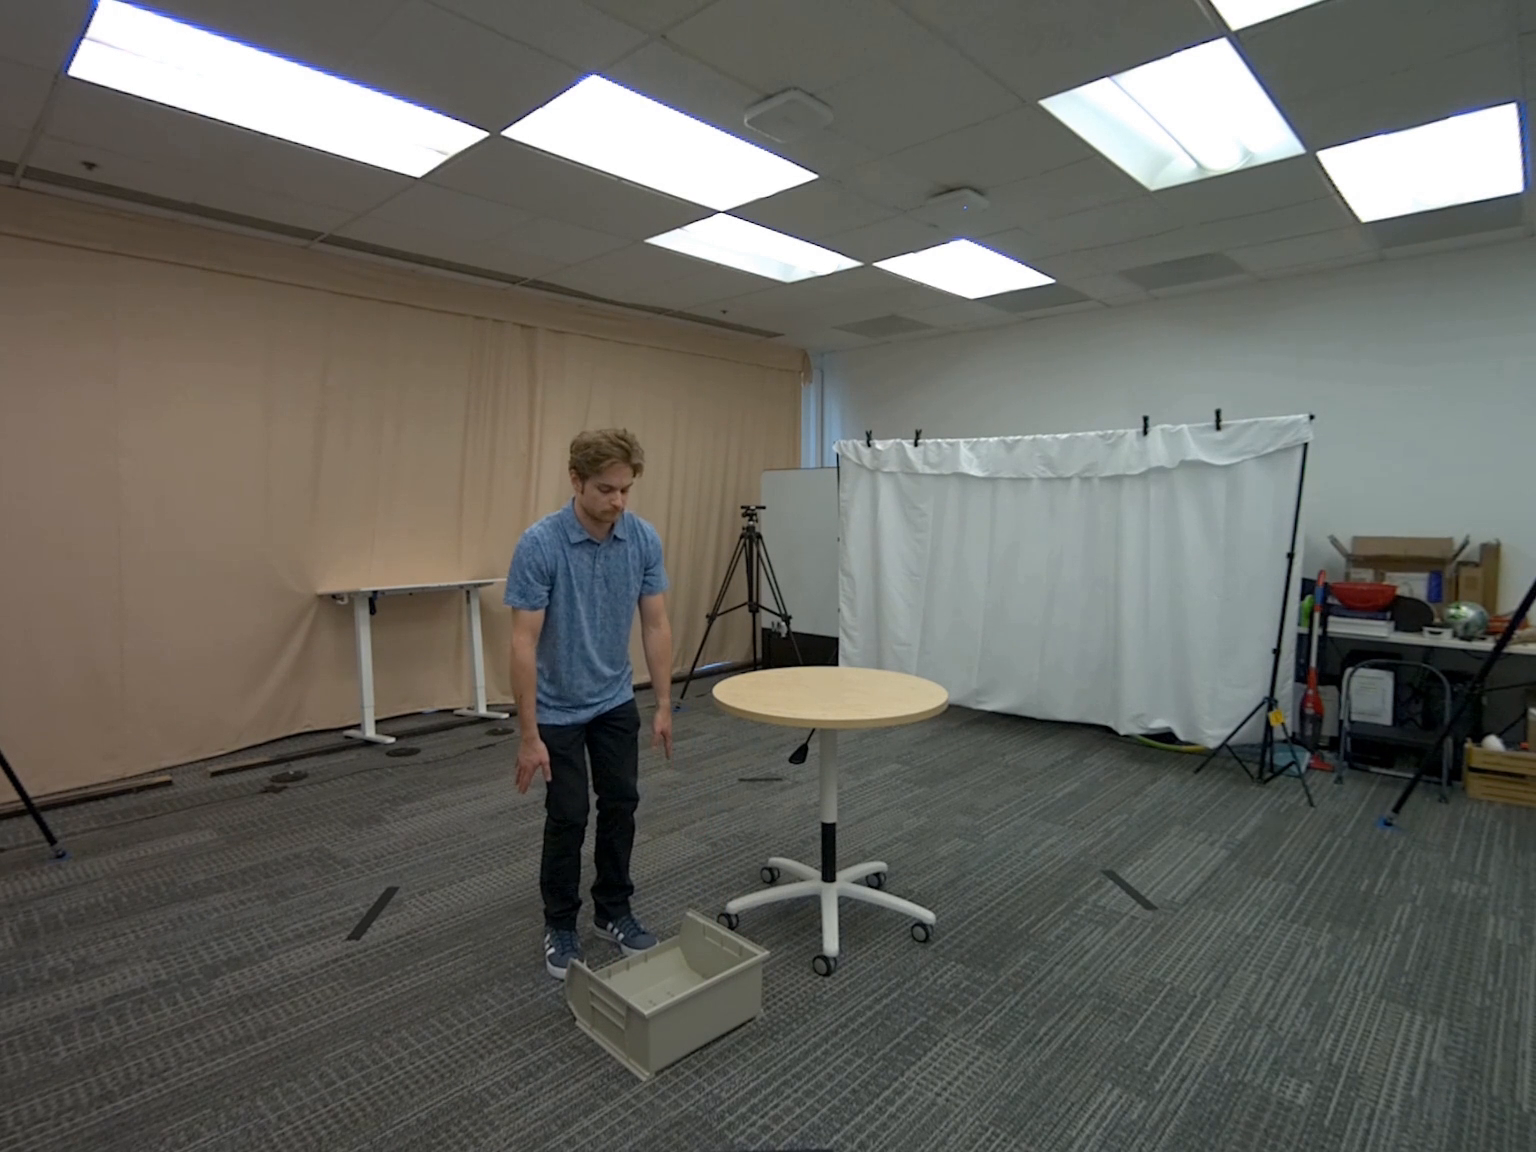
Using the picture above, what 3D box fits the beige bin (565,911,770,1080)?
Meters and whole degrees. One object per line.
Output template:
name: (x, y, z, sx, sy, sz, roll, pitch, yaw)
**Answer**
beige bin: (-0.275, 1.119, 2.291, 0.409, 0.188, 0.390, -4, 6, -43)
